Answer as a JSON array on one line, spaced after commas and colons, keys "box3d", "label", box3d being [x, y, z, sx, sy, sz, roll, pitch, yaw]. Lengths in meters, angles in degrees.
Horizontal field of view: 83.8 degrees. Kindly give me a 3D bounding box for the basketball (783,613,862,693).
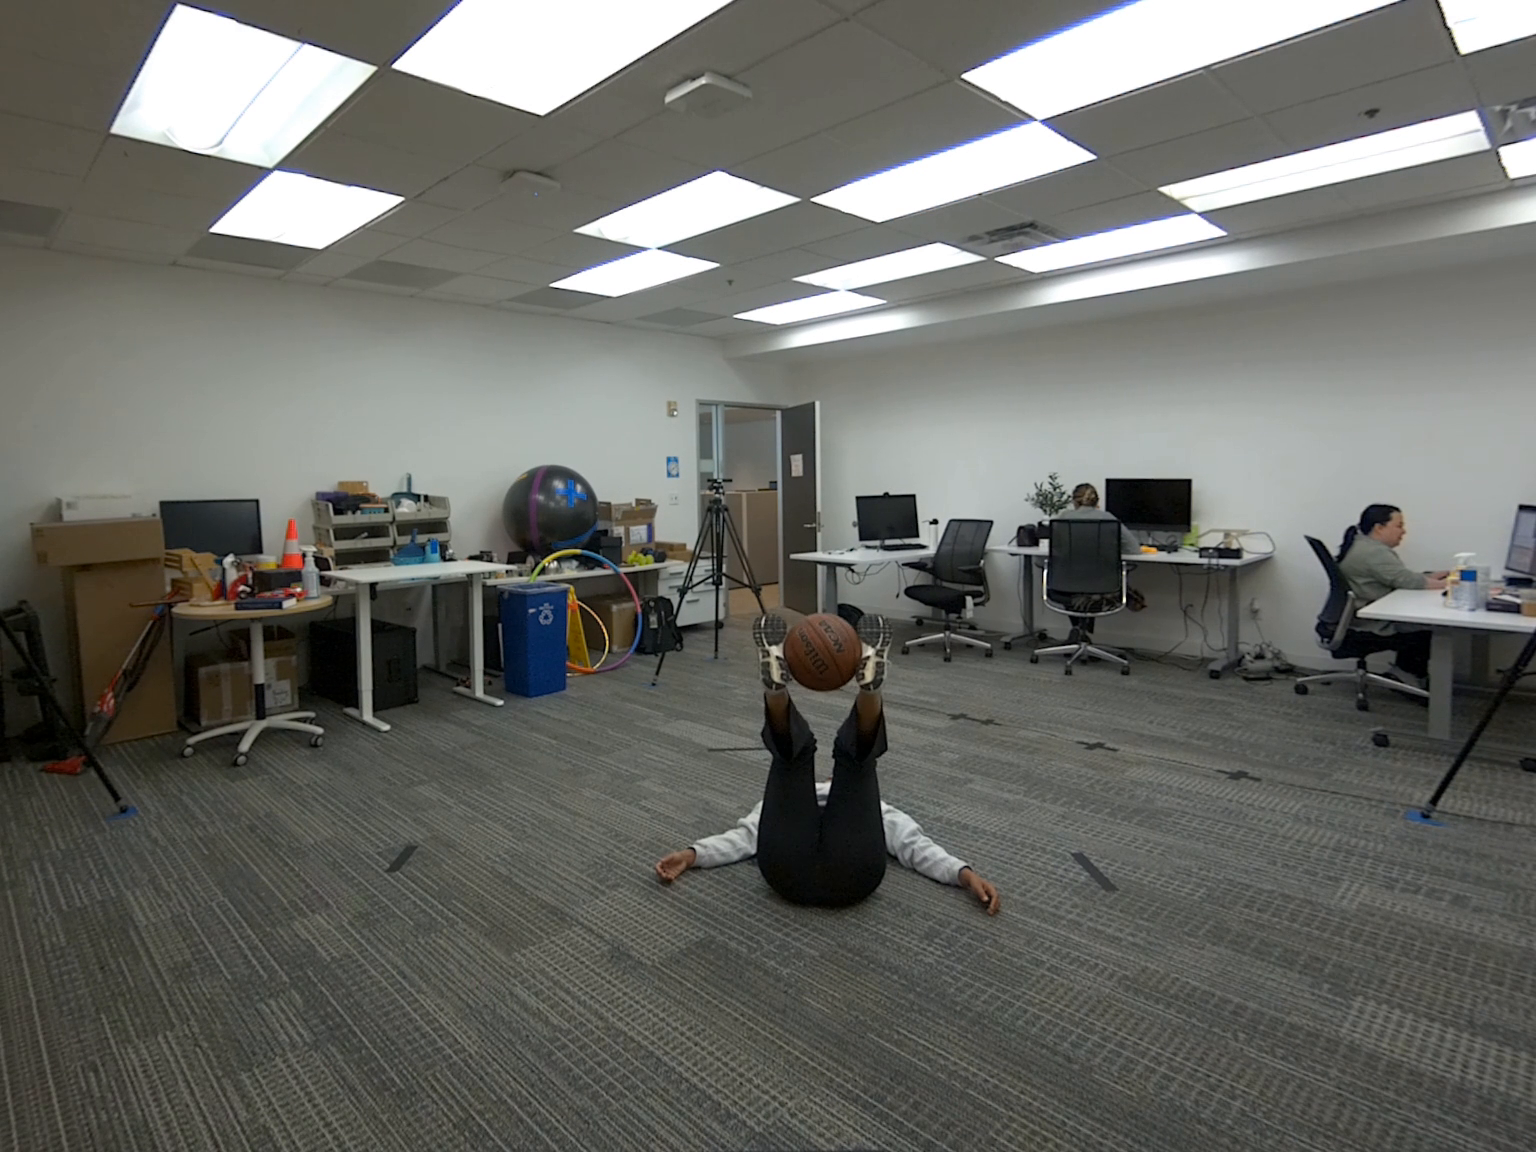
[{"box3d": [0.173, 0.241, 2.613, 0.236, 0.235, 0.236, -4, 2, -2], "label": "basketball"}]
